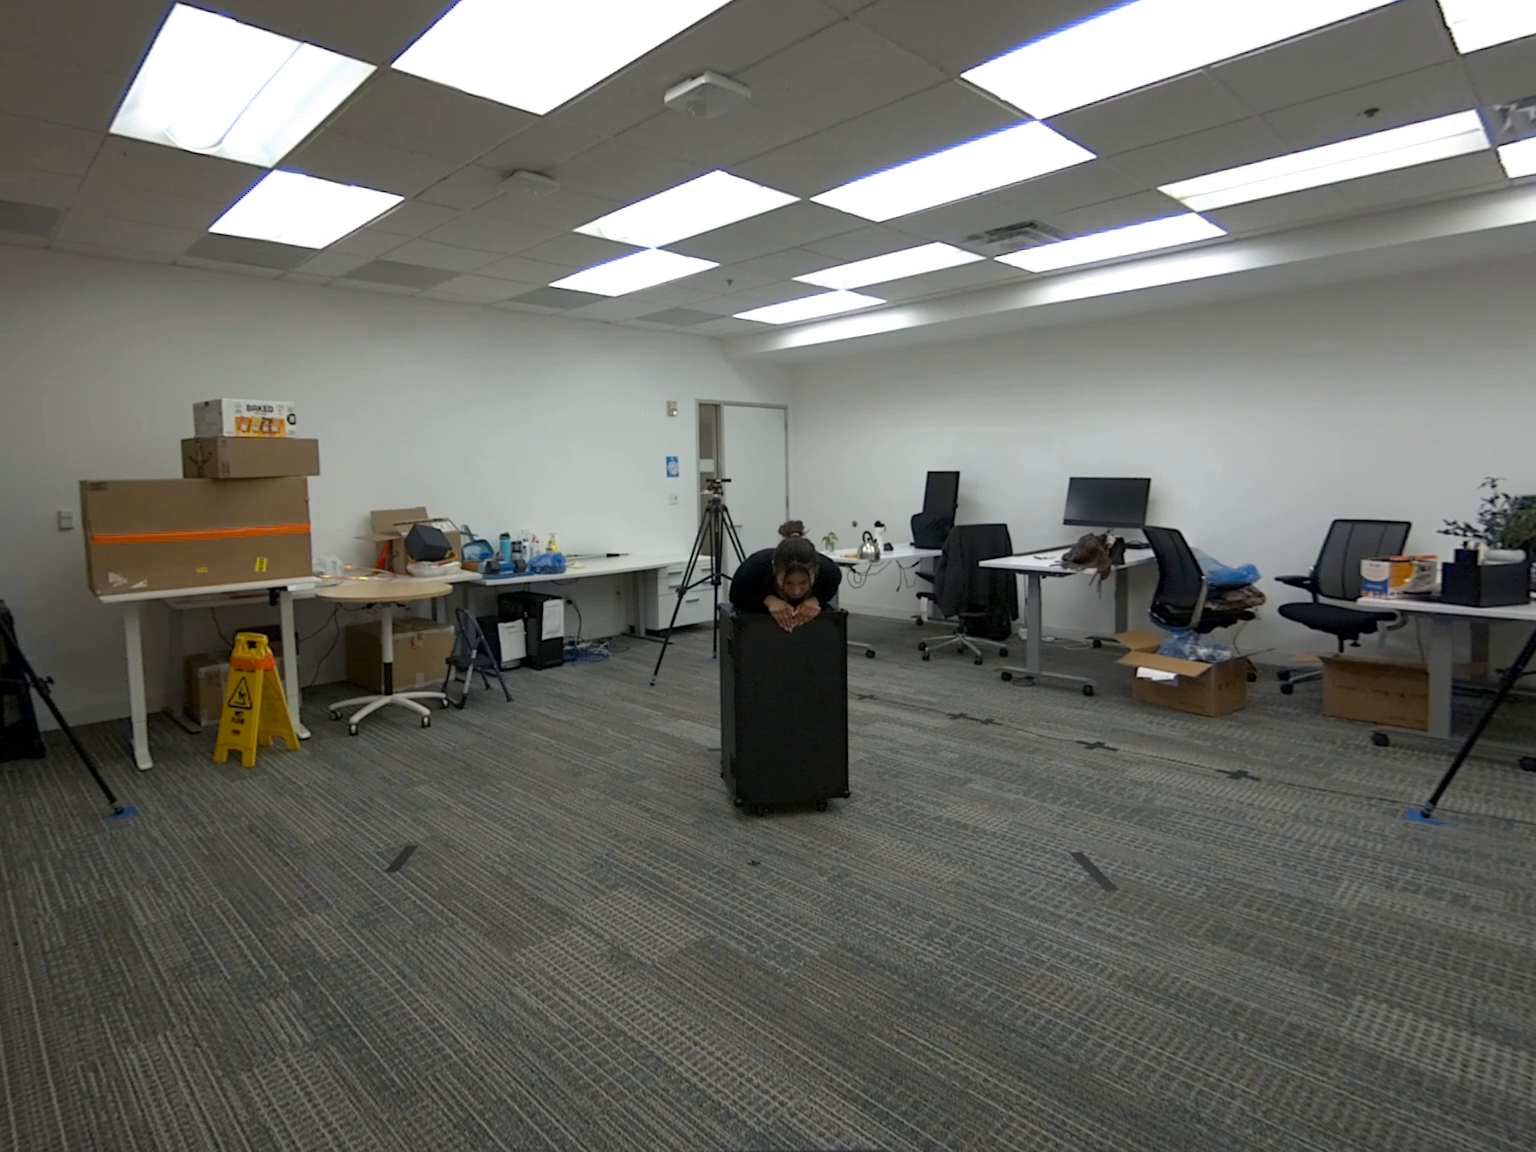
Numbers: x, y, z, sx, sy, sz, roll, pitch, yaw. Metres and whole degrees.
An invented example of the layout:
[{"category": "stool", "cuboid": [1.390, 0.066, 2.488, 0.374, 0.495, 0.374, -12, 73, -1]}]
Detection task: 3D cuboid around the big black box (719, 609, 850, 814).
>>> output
[{"category": "big black box", "cuboid": [0.053, 0.560, 3.659, 0.517, 0.859, 0.401, -2, 3, -10]}]
